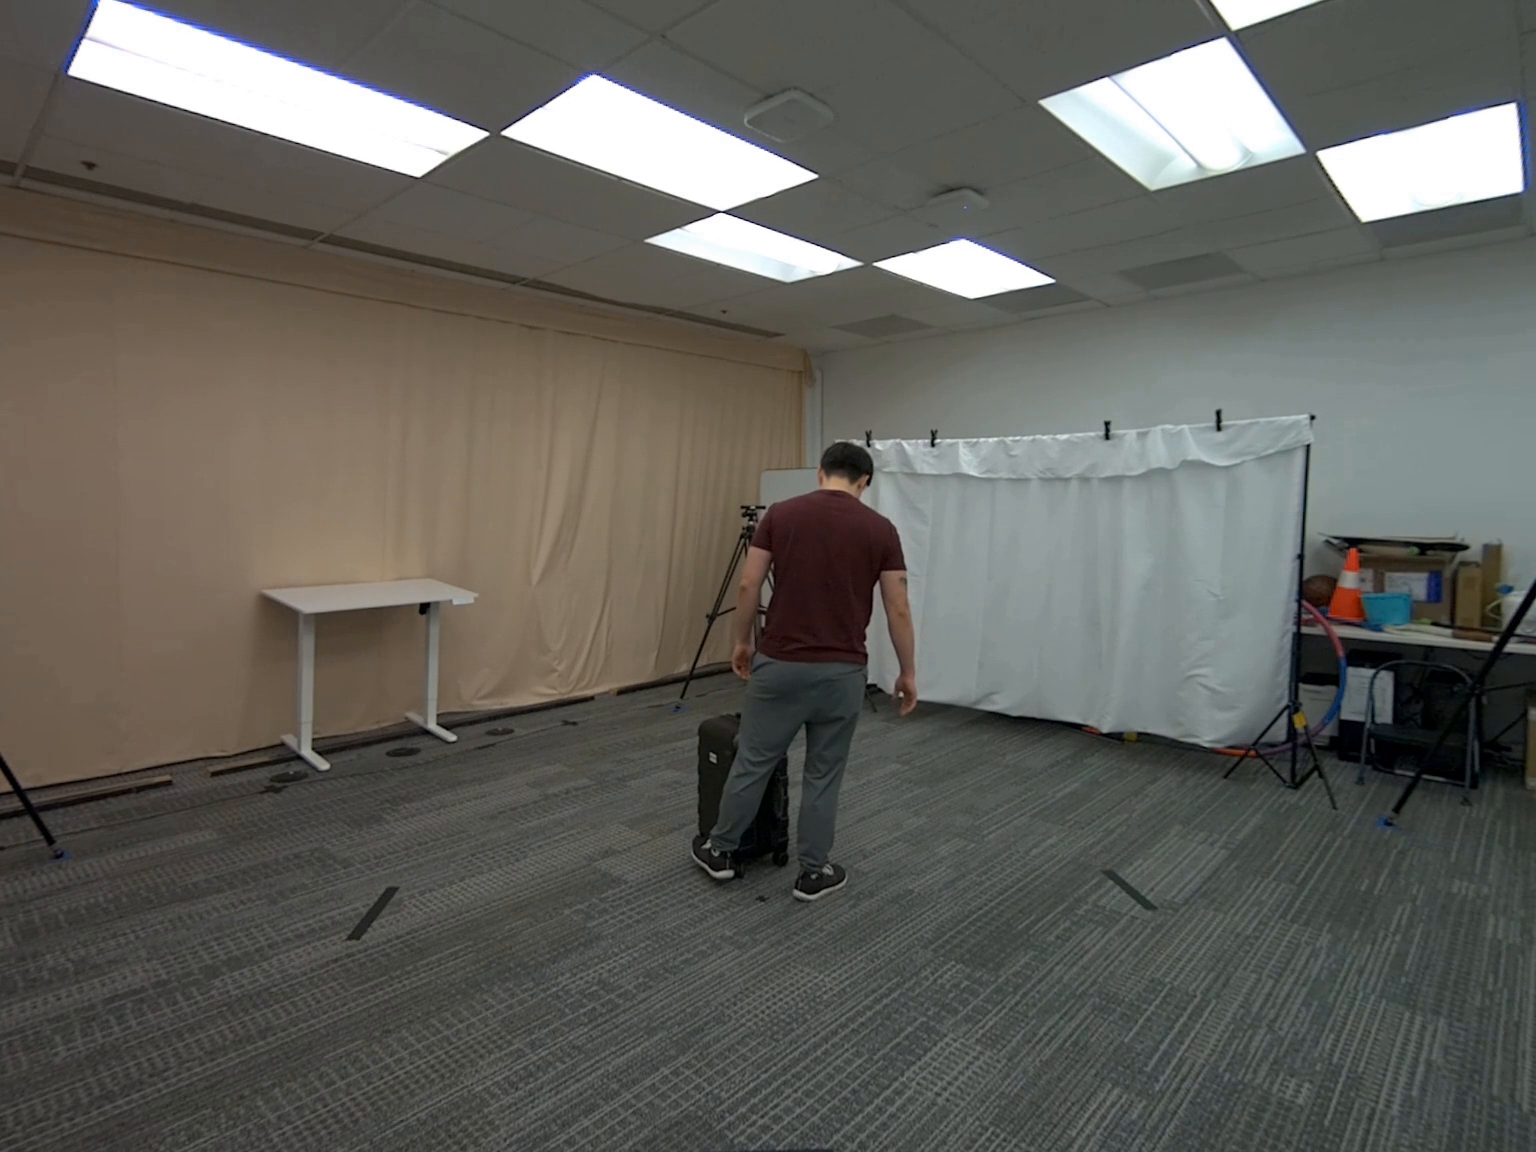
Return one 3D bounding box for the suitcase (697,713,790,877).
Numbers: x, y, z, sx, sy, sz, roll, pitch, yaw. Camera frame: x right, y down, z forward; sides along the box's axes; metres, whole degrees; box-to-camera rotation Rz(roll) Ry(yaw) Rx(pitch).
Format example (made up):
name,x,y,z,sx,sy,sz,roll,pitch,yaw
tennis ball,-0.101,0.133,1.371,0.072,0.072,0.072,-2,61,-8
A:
name,x,y,z,sx,sy,sz,roll,pitch,yaw
suitcase,-0.105,0.634,3.340,0.250,0.977,0.394,-3,2,-28
